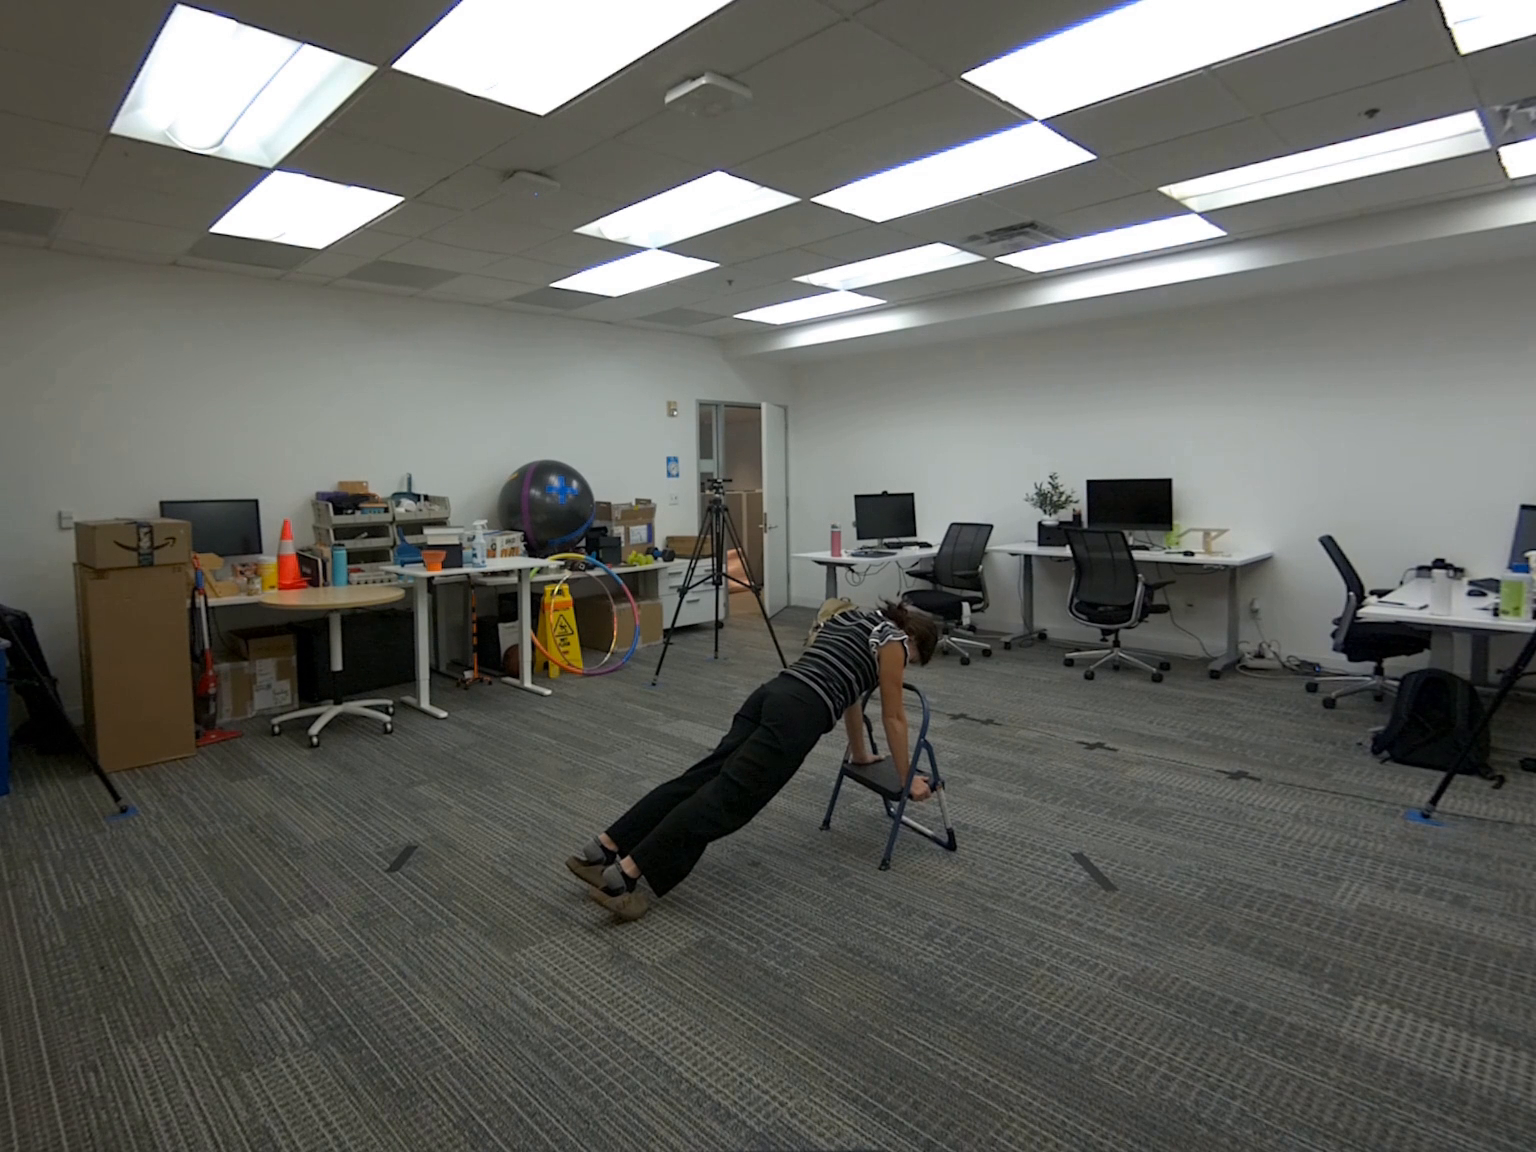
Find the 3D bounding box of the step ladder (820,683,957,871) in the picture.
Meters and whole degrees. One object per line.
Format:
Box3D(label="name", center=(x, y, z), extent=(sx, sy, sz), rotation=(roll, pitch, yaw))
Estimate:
Box3D(label="step ladder", center=(0.456, 0.716, 3.280), extent=(0.341, 0.604, 0.442), rotation=(-2, 5, -28))
